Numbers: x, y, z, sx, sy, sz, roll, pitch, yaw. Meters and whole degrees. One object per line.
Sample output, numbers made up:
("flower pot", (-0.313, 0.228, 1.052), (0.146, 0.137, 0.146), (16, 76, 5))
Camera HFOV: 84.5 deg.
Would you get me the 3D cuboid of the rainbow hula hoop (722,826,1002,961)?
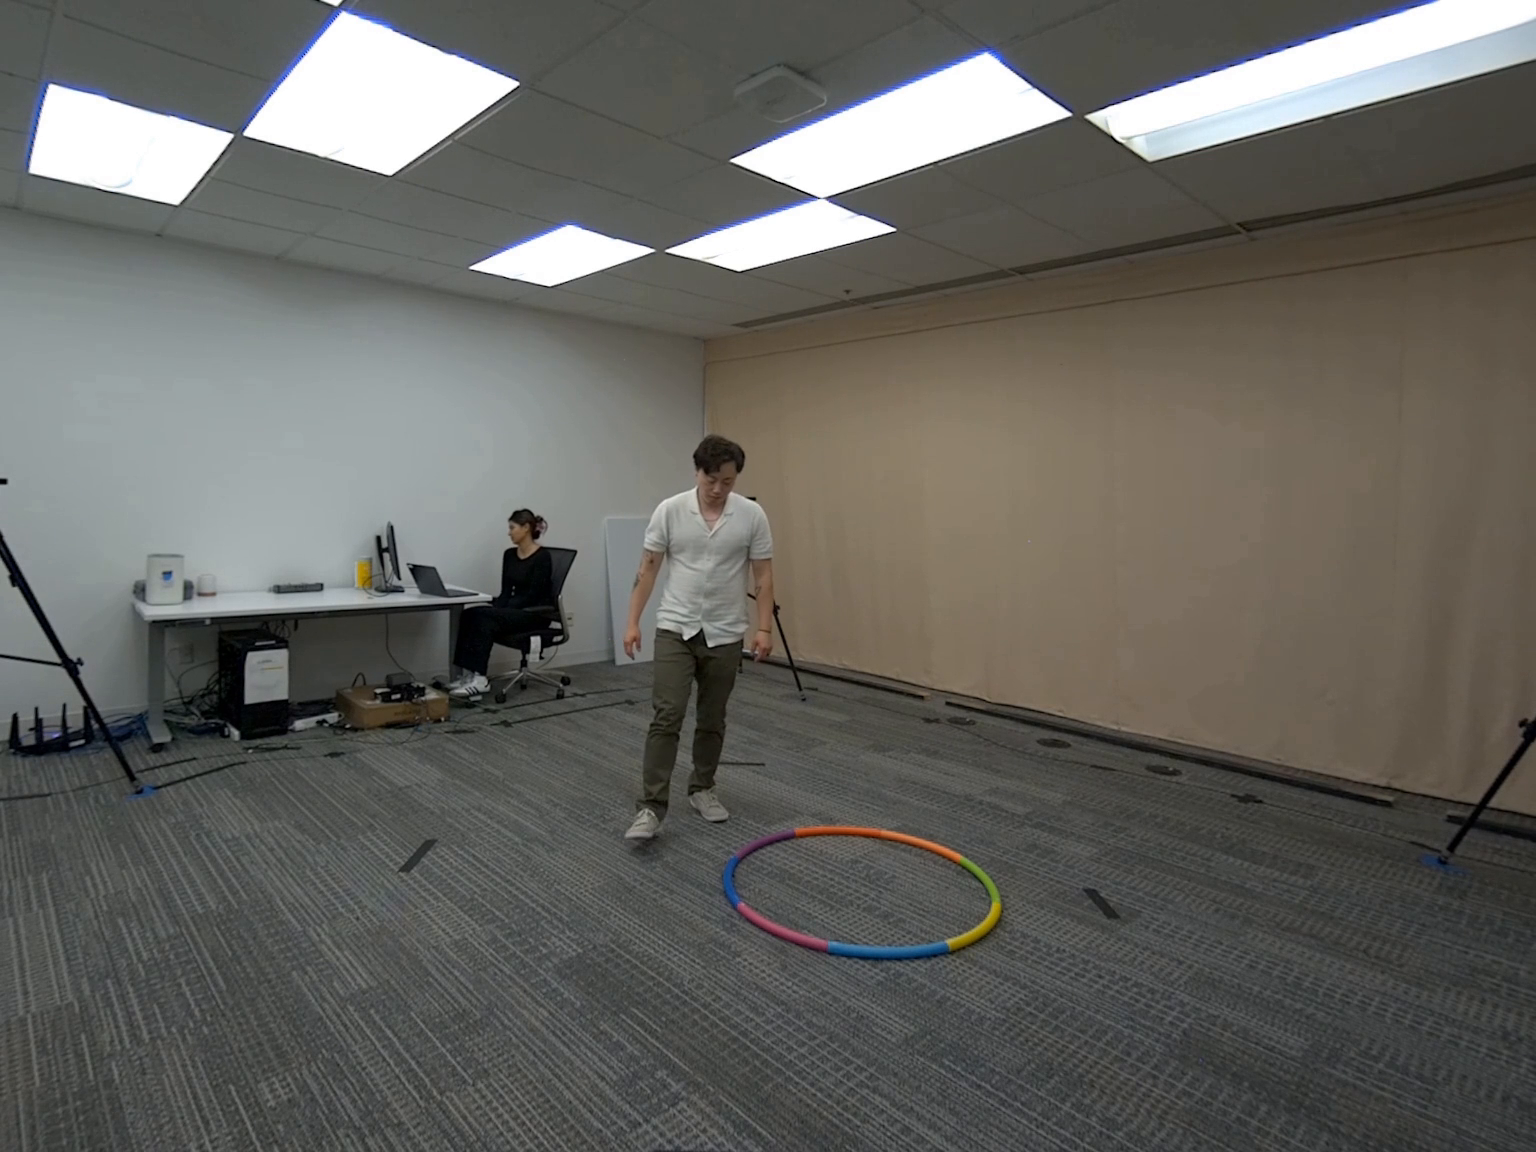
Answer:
("rainbow hula hoop", (0.315, 1.091, 3.043), (0.978, 0.035, 0.982), (1, 5, -1))
